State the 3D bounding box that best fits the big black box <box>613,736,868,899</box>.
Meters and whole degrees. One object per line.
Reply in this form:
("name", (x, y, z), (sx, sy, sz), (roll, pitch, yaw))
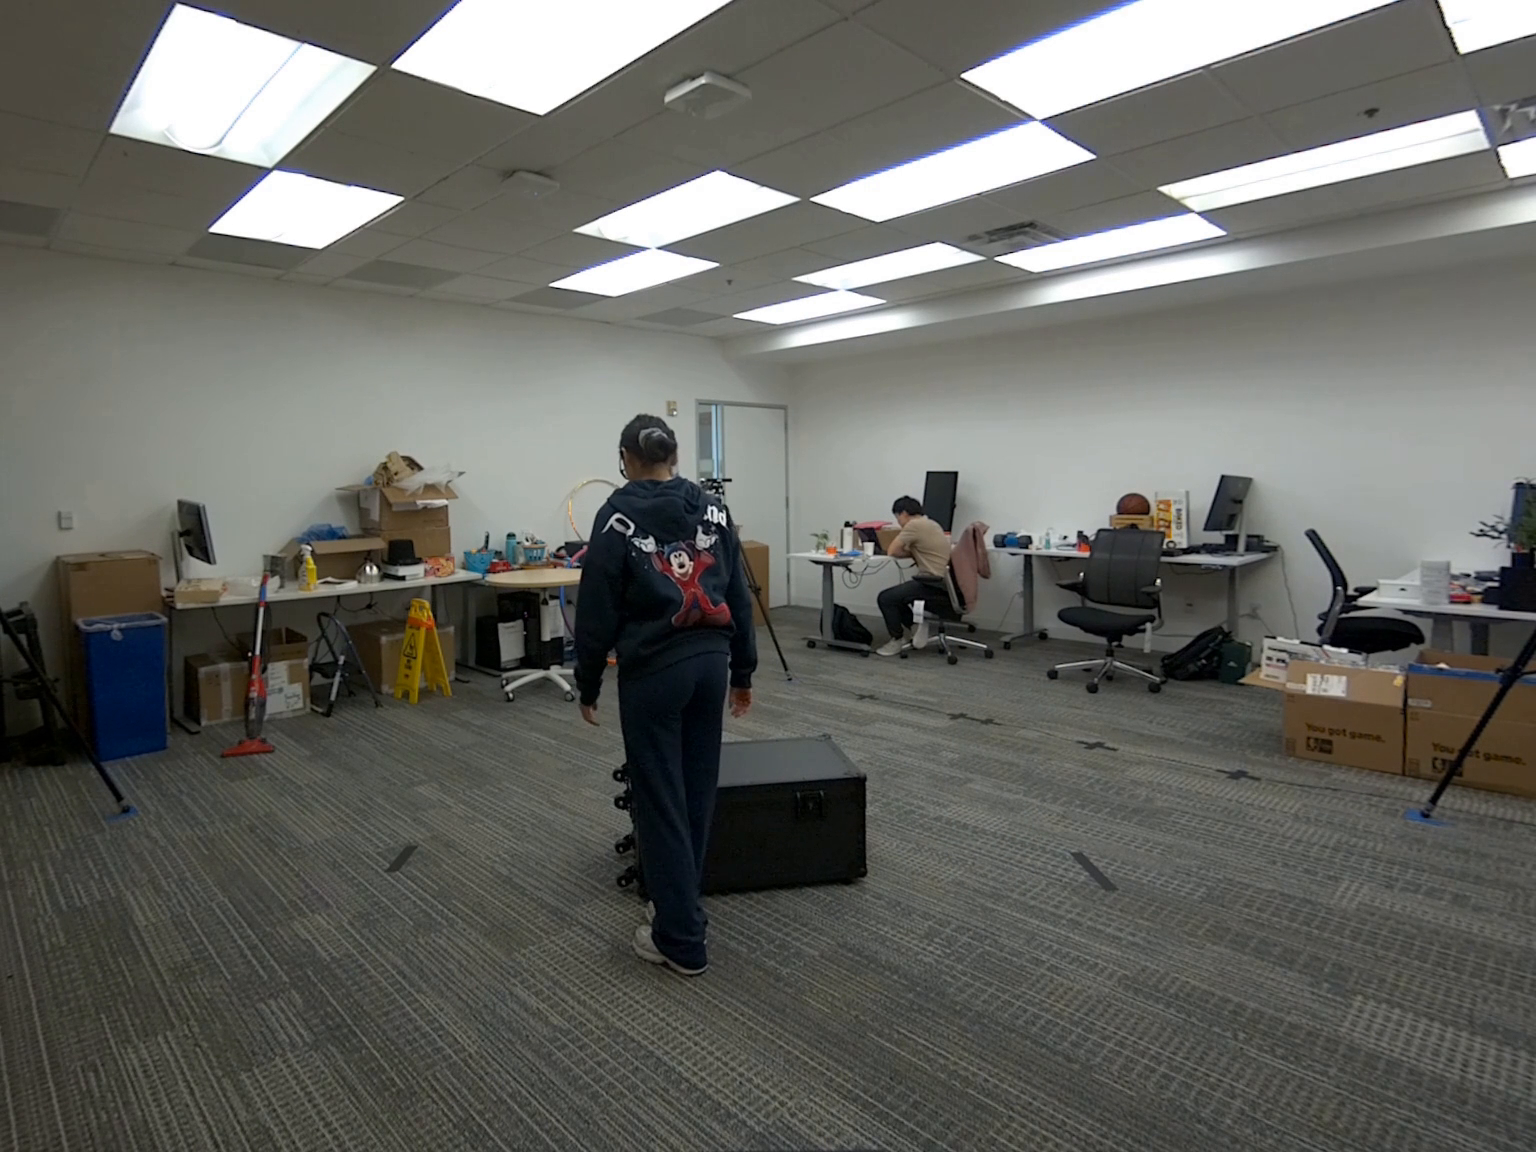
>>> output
("big black box", (-0.124, 0.856, 3.095), (0.854, 0.394, 0.528), (-2, 6, -10))
